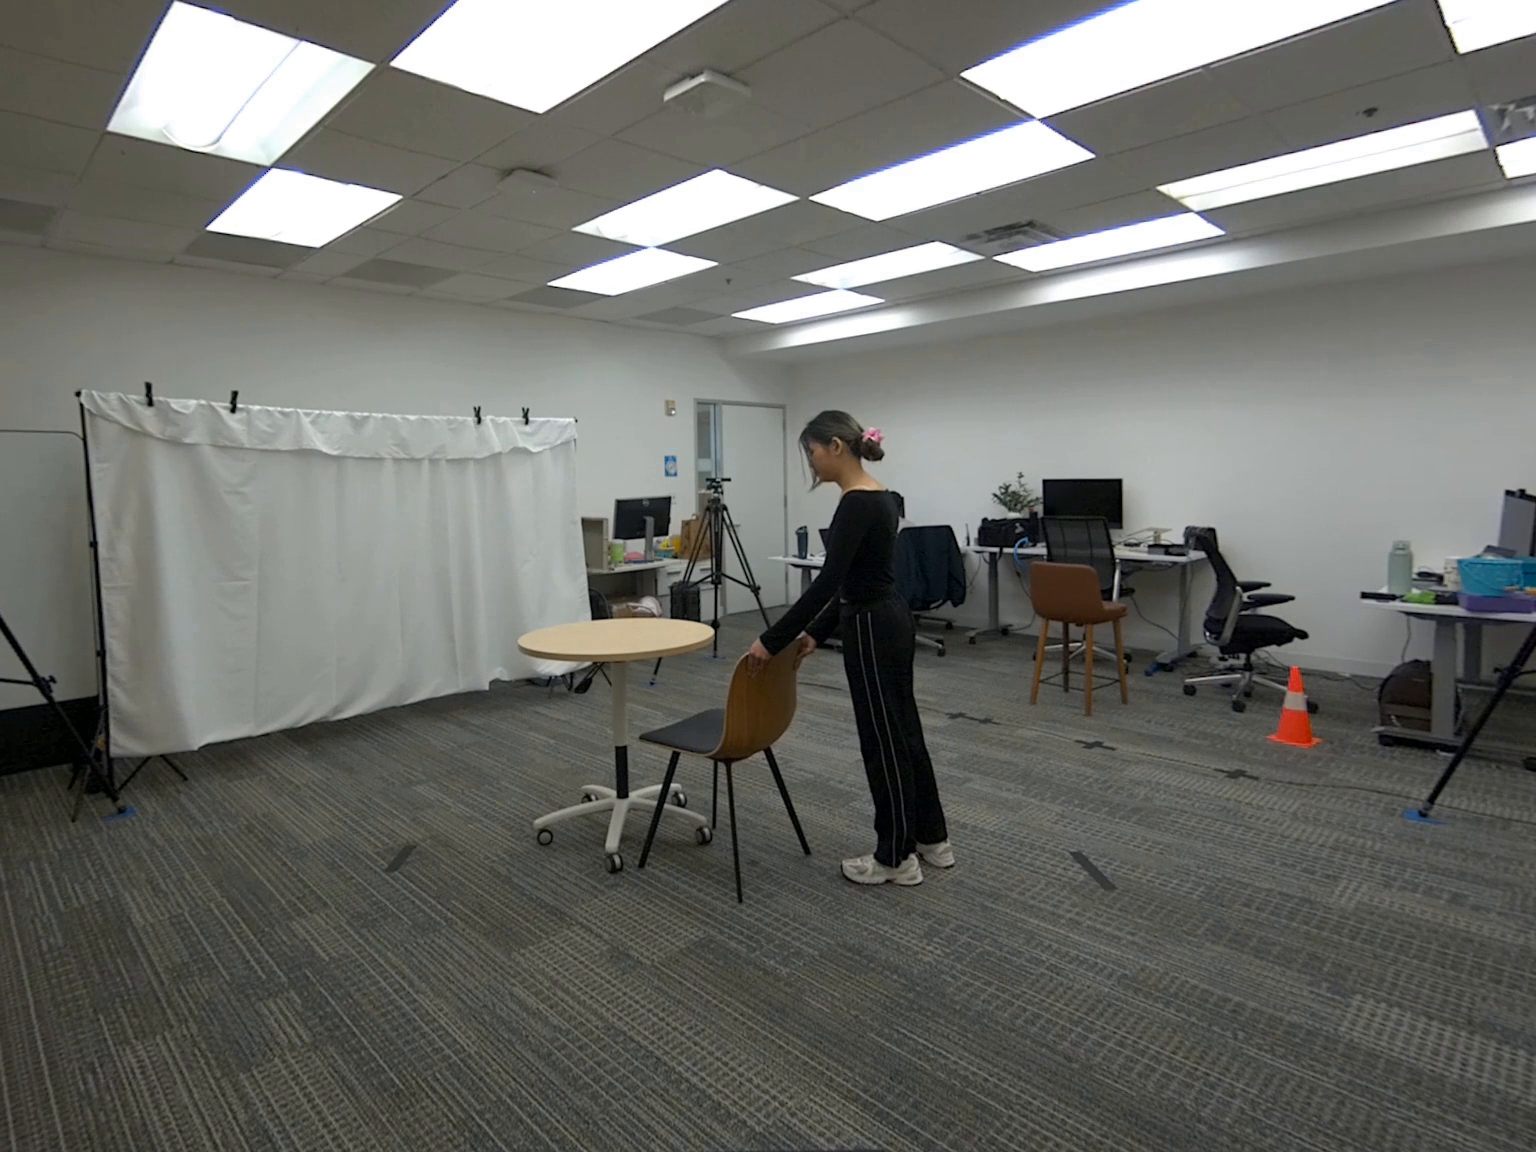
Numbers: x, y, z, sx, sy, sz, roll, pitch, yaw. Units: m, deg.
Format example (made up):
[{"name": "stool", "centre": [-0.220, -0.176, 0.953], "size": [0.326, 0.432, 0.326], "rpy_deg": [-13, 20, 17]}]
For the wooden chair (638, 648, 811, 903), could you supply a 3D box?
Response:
[{"name": "wooden chair", "centre": [-0.162, 0.617, 3.088], "size": [0.539, 0.872, 0.466], "rpy_deg": [7, 8, 35]}]
